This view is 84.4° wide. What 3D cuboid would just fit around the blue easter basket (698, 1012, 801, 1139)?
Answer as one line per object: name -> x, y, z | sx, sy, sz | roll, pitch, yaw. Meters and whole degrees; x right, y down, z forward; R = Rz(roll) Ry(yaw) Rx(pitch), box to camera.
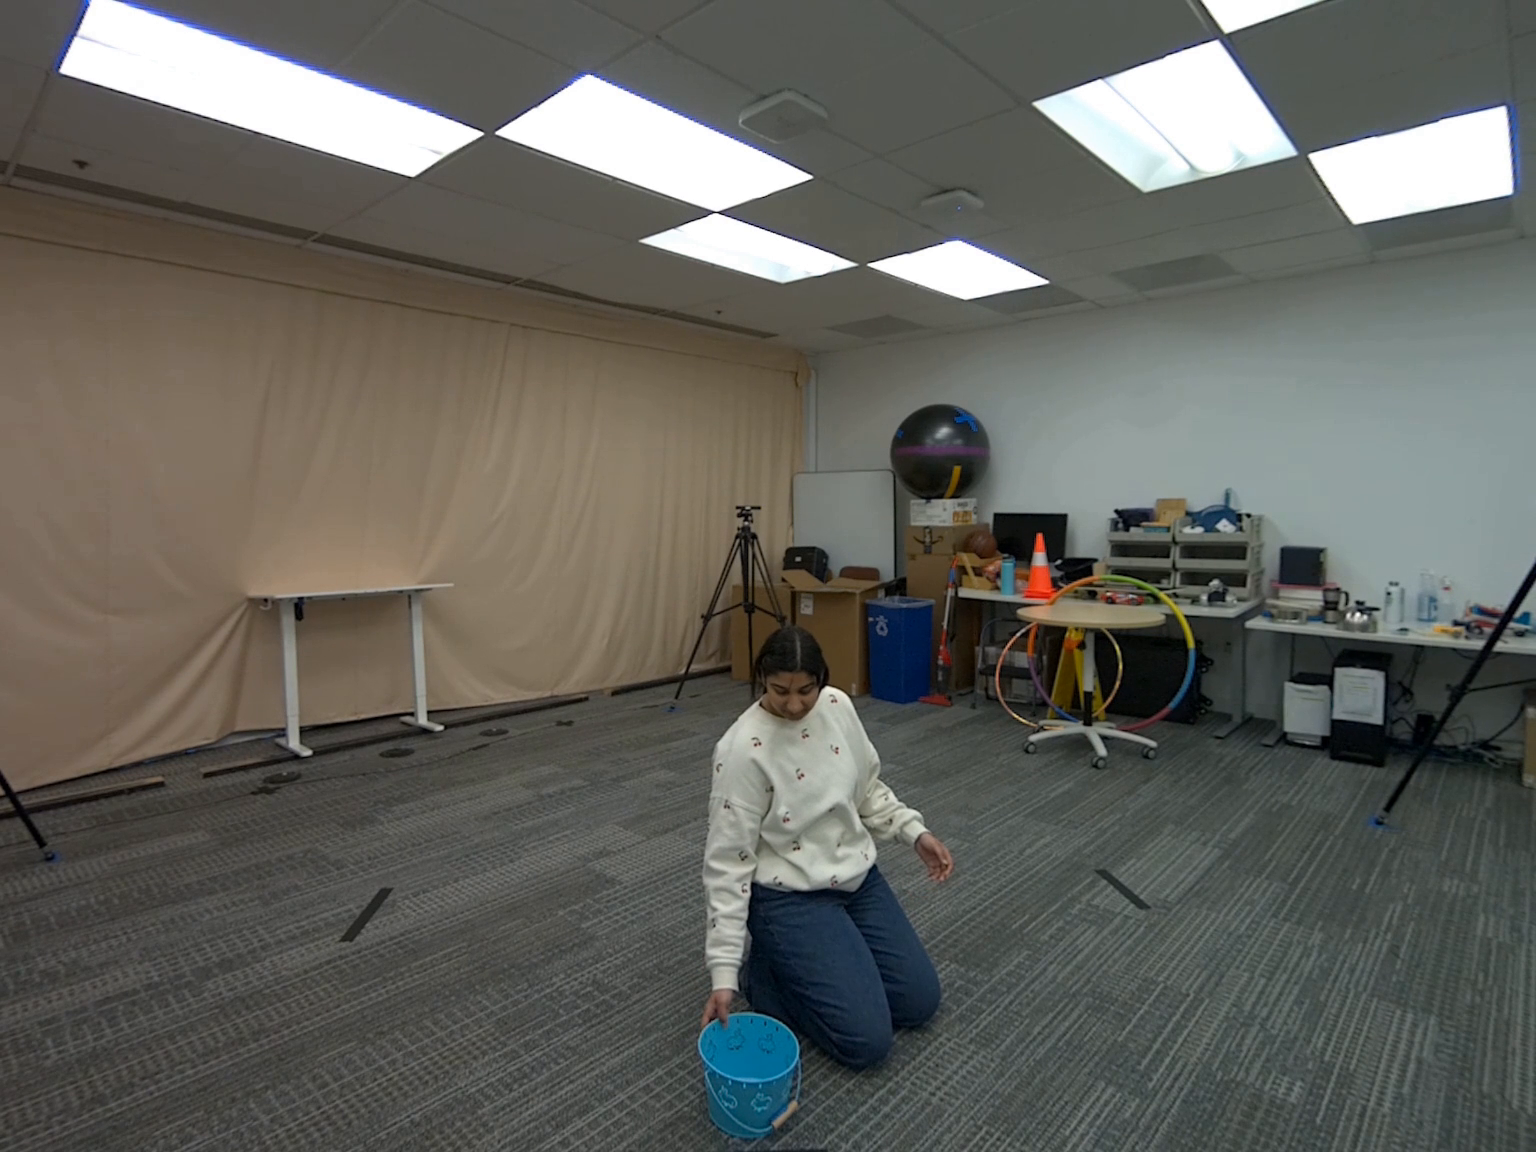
blue easter basket -> -0.047, 1.143, 1.935 | 0.243, 0.155, 0.245 | 1, 6, -2
